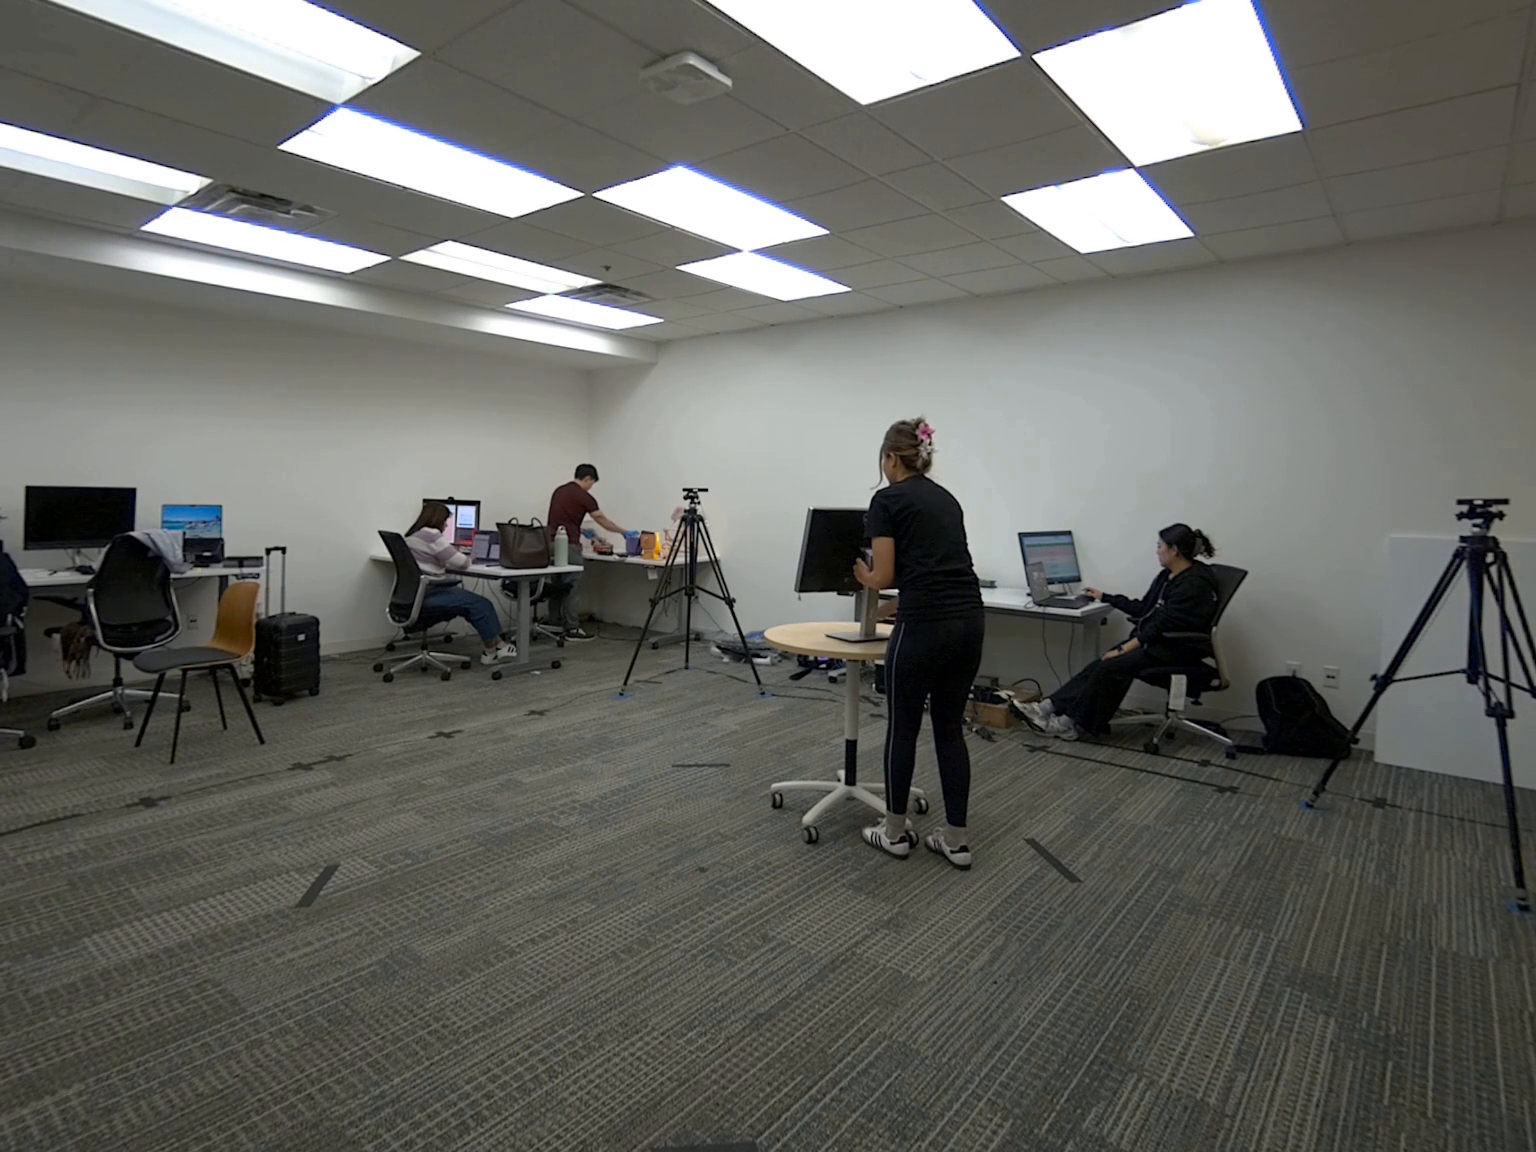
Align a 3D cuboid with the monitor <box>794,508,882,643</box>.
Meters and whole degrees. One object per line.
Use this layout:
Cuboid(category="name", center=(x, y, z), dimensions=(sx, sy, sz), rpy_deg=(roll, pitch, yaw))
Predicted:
Cuboid(category="monitor", center=(0.384, -0.011, 3.558), dimensions=(0.524, 0.520, 0.193), rpy_deg=(-2, 5, -32))
